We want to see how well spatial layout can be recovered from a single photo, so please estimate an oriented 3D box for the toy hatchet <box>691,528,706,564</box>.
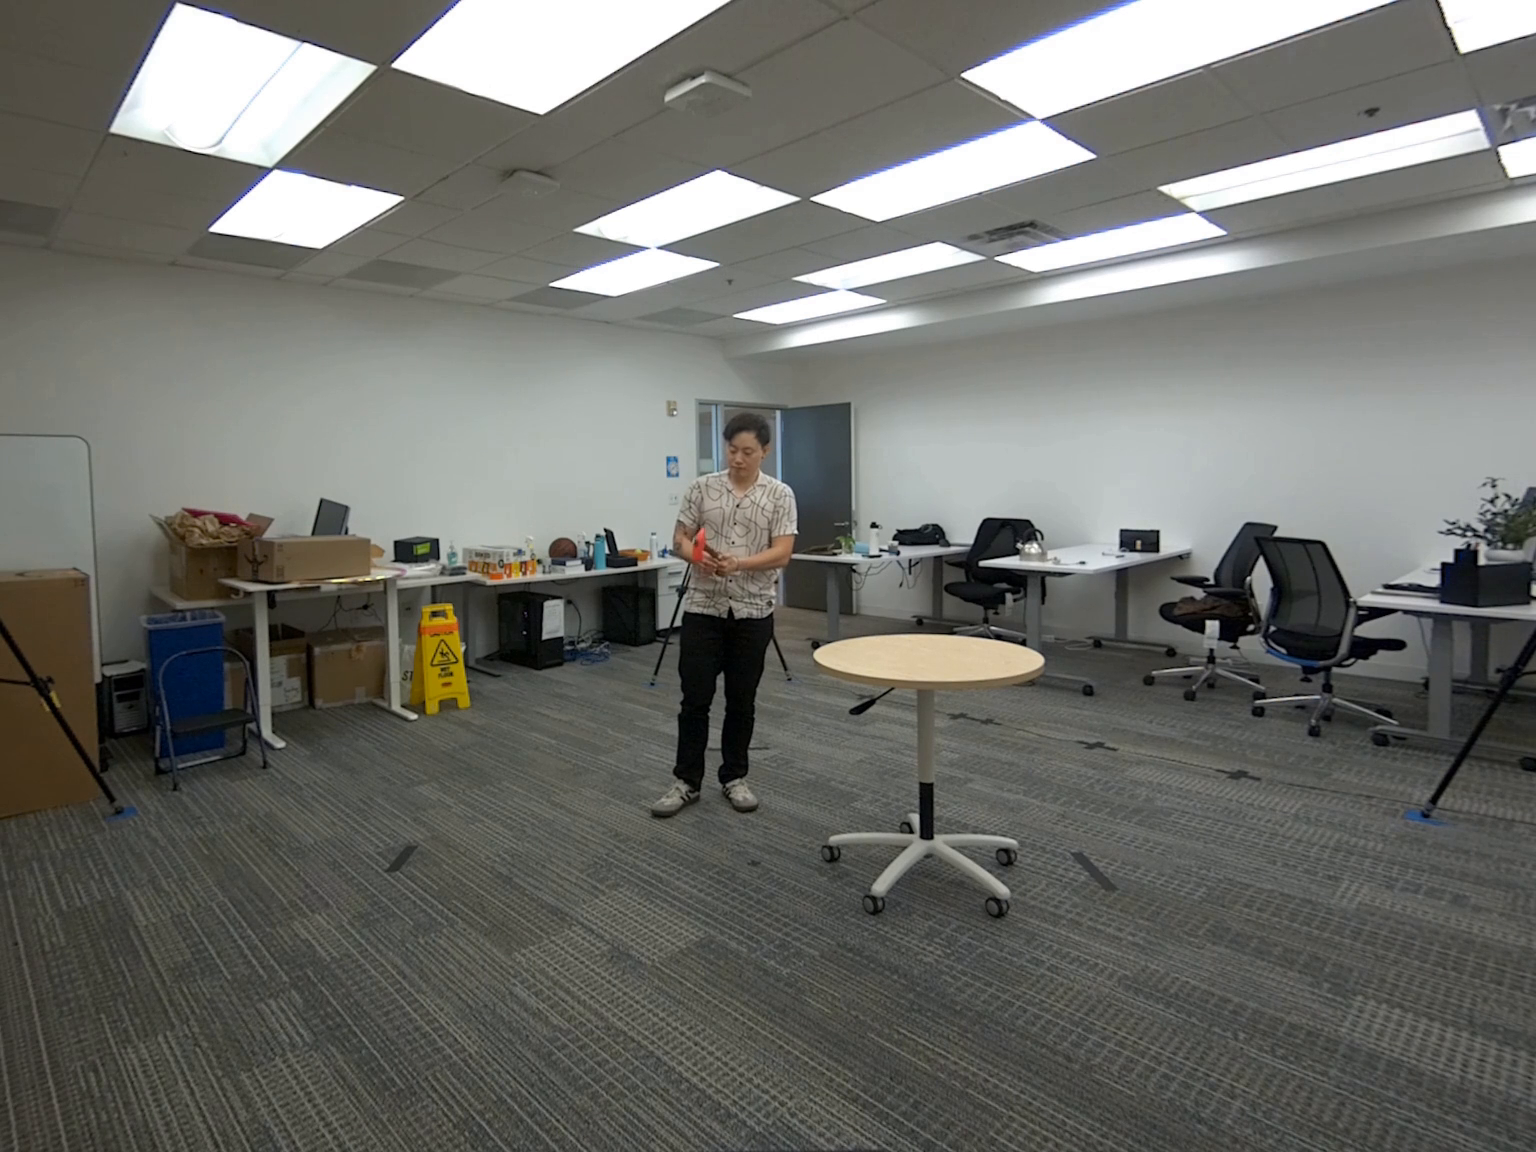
[{"bbox_3d":[-0.237,-0.062,3.336,0.030,0.133,0.260,0,-34,21],"label":"toy hatchet"}]
